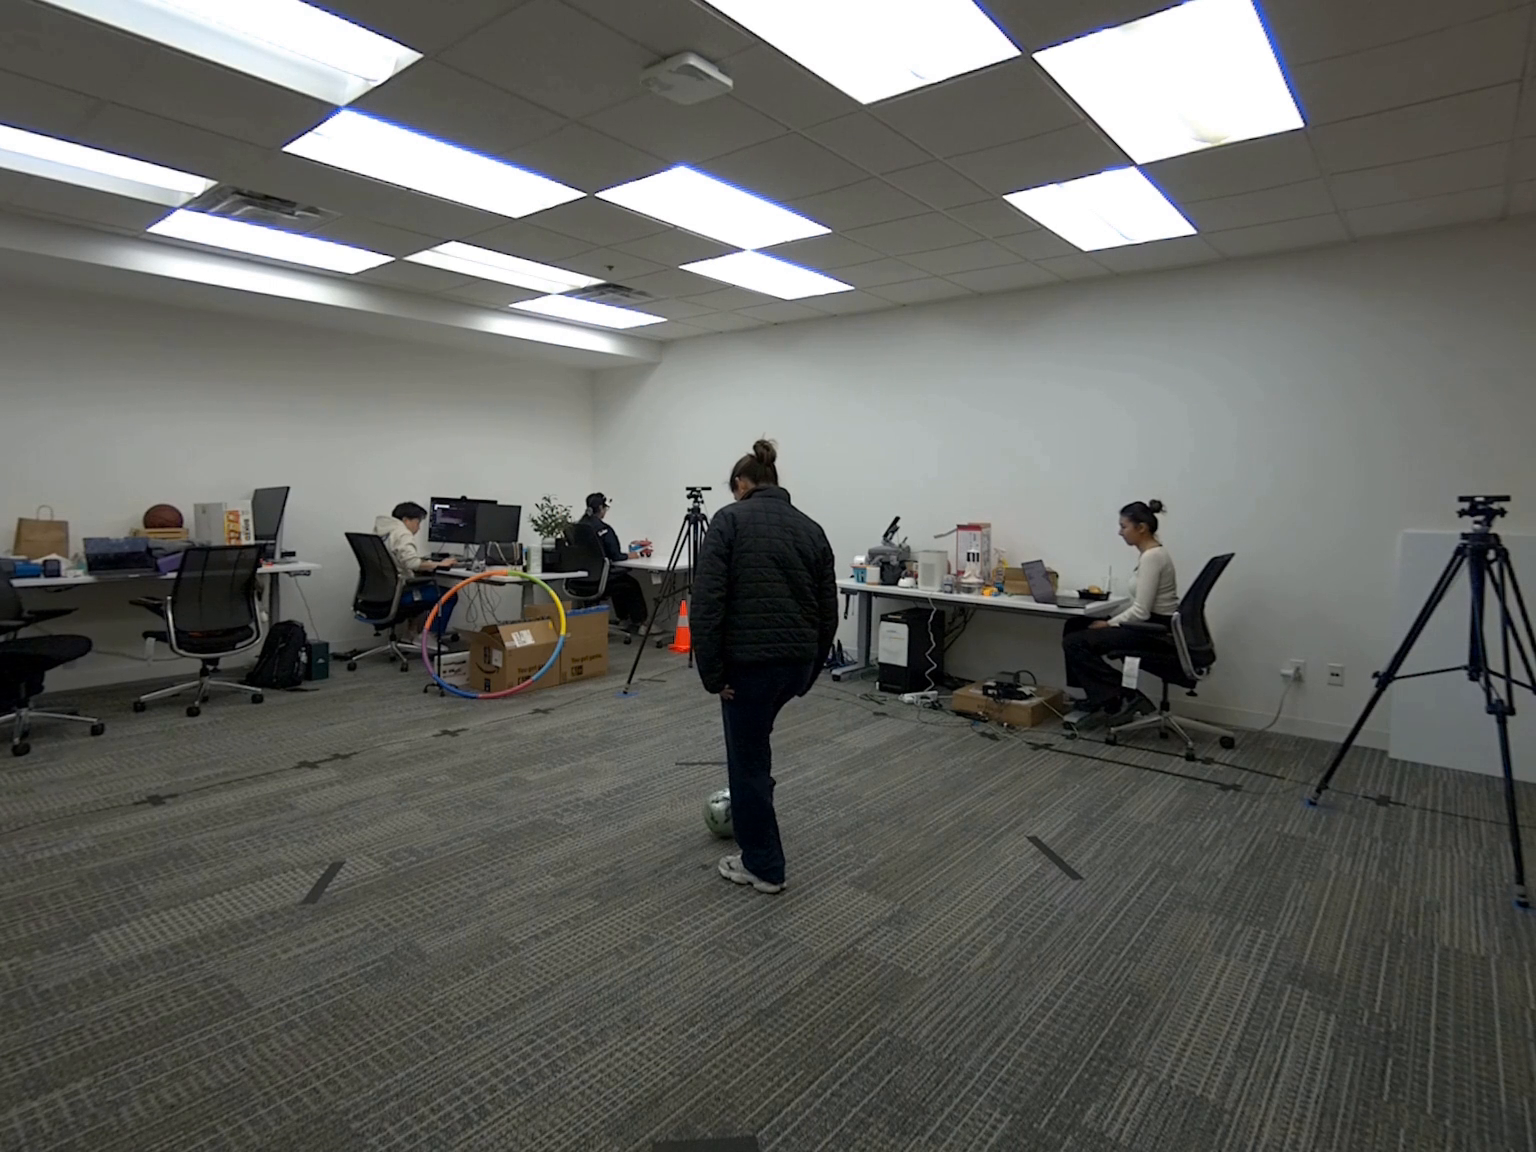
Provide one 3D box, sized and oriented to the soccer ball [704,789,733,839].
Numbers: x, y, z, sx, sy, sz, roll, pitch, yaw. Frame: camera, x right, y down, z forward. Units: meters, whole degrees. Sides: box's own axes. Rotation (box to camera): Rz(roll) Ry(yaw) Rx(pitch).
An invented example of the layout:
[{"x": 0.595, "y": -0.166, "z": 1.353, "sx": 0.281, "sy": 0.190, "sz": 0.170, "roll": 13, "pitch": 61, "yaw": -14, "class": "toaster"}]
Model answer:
[{"x": -0.179, "y": 0.944, "z": 3.396, "sx": 0.187, "sy": 0.187, "sz": 0.188, "roll": 1, "pitch": 4, "yaw": -2, "class": "soccer ball"}]
